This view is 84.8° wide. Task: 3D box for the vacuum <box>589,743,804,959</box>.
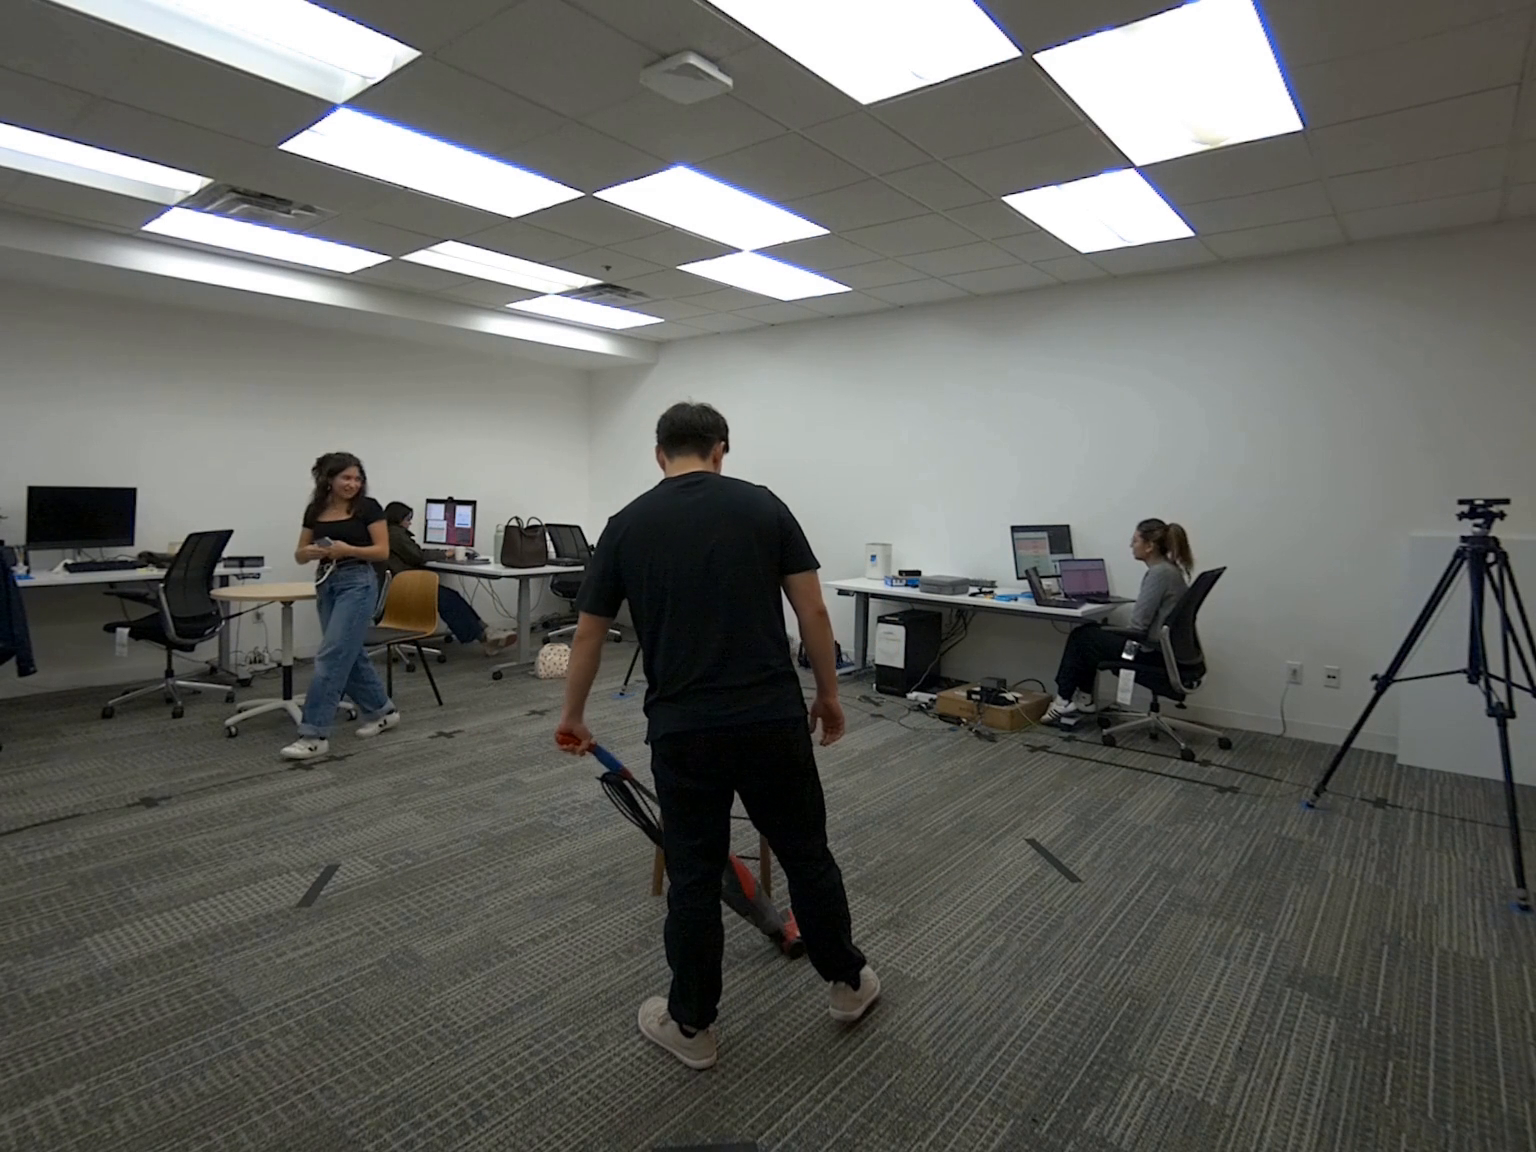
[{"bbox_3d":[-0.237,0.755,2.393,1.017,0.144,0.260,47,-23,-24],"label":"vacuum"}]
